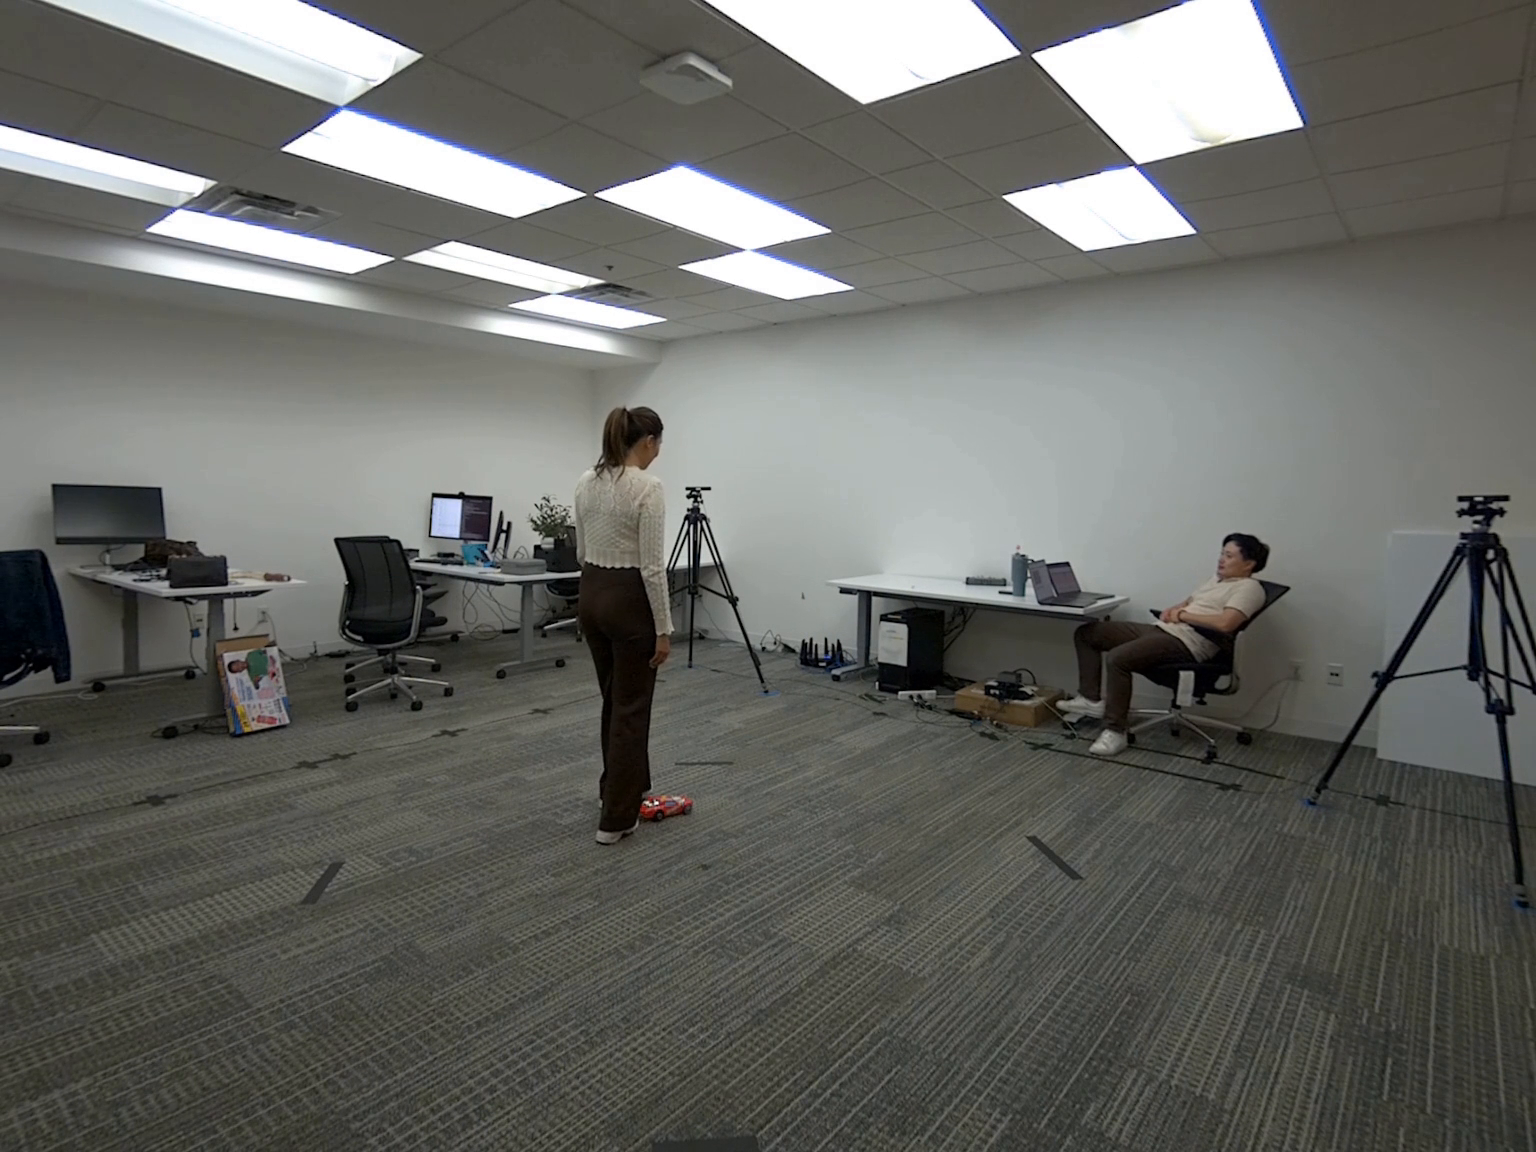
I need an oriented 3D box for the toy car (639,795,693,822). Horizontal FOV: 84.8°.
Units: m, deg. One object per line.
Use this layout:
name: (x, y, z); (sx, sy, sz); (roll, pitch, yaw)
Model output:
toy car: (-0.459, 0.985, 3.612); (0.246, 0.083, 0.134); (9, -2, -35)
